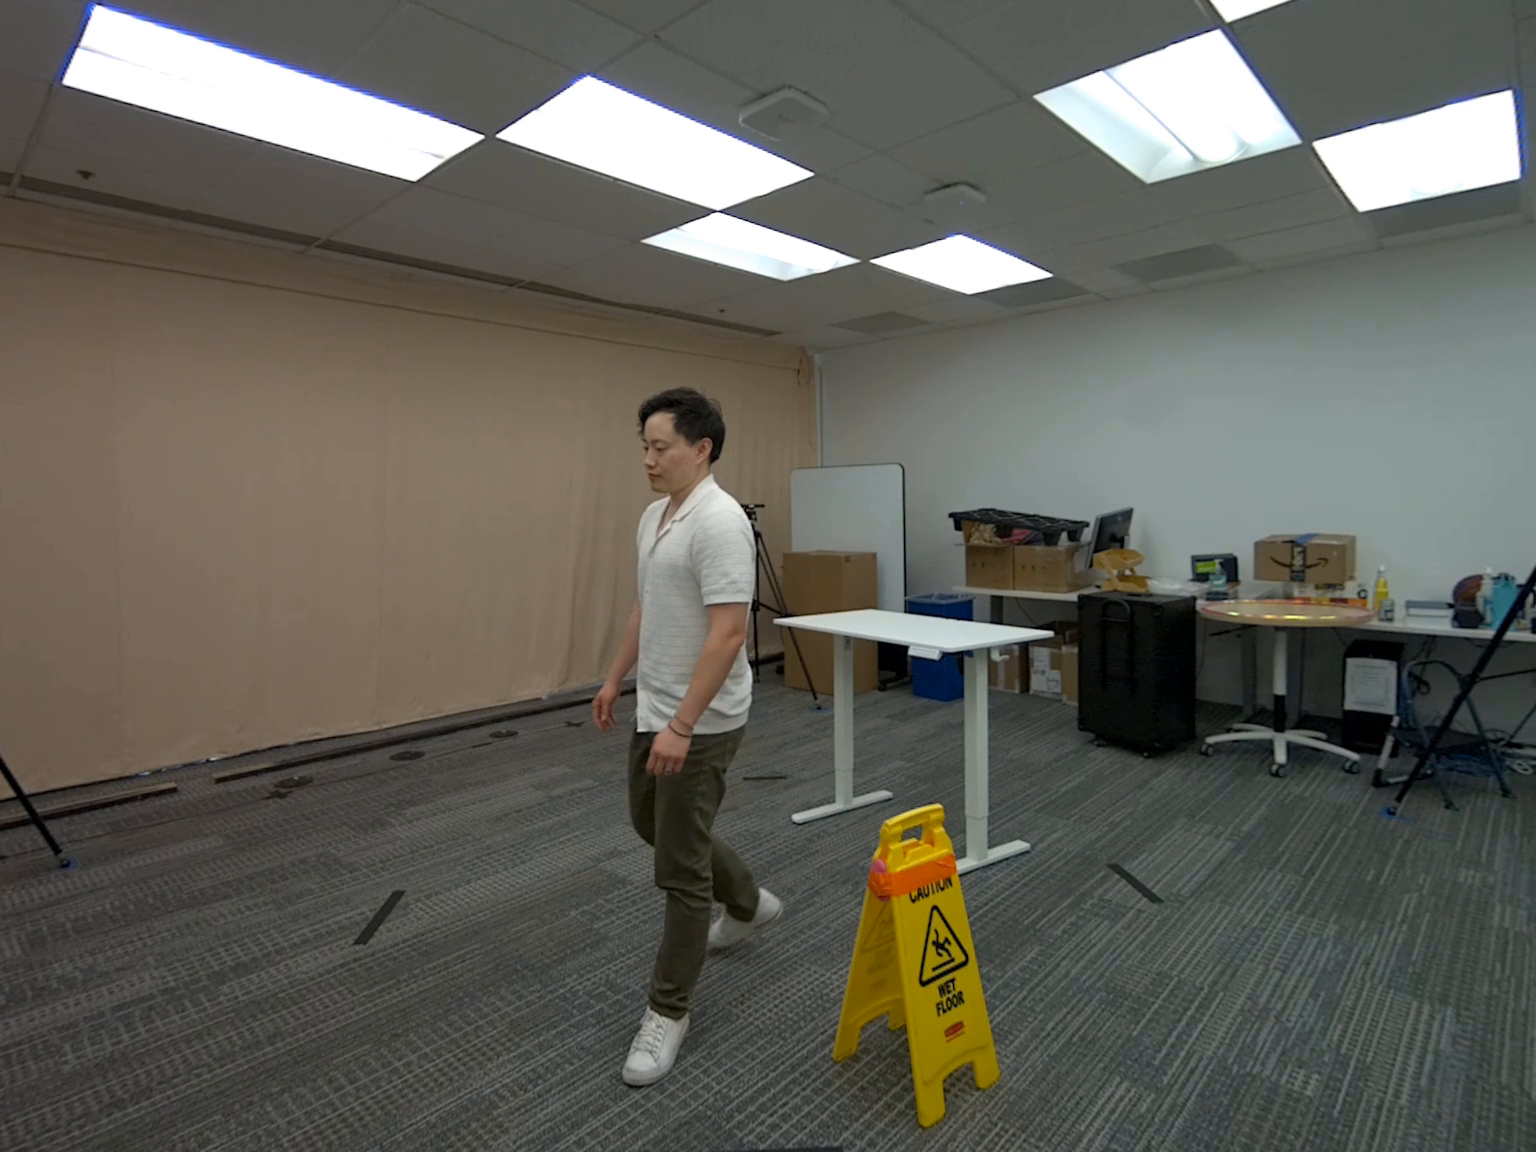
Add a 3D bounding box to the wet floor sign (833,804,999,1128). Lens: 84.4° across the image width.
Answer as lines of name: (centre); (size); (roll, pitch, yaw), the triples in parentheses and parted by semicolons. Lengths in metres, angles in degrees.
wet floor sign: (0.364, 0.896, 2.041); (0.274, 0.644, 0.299); (-4, 5, -38)
